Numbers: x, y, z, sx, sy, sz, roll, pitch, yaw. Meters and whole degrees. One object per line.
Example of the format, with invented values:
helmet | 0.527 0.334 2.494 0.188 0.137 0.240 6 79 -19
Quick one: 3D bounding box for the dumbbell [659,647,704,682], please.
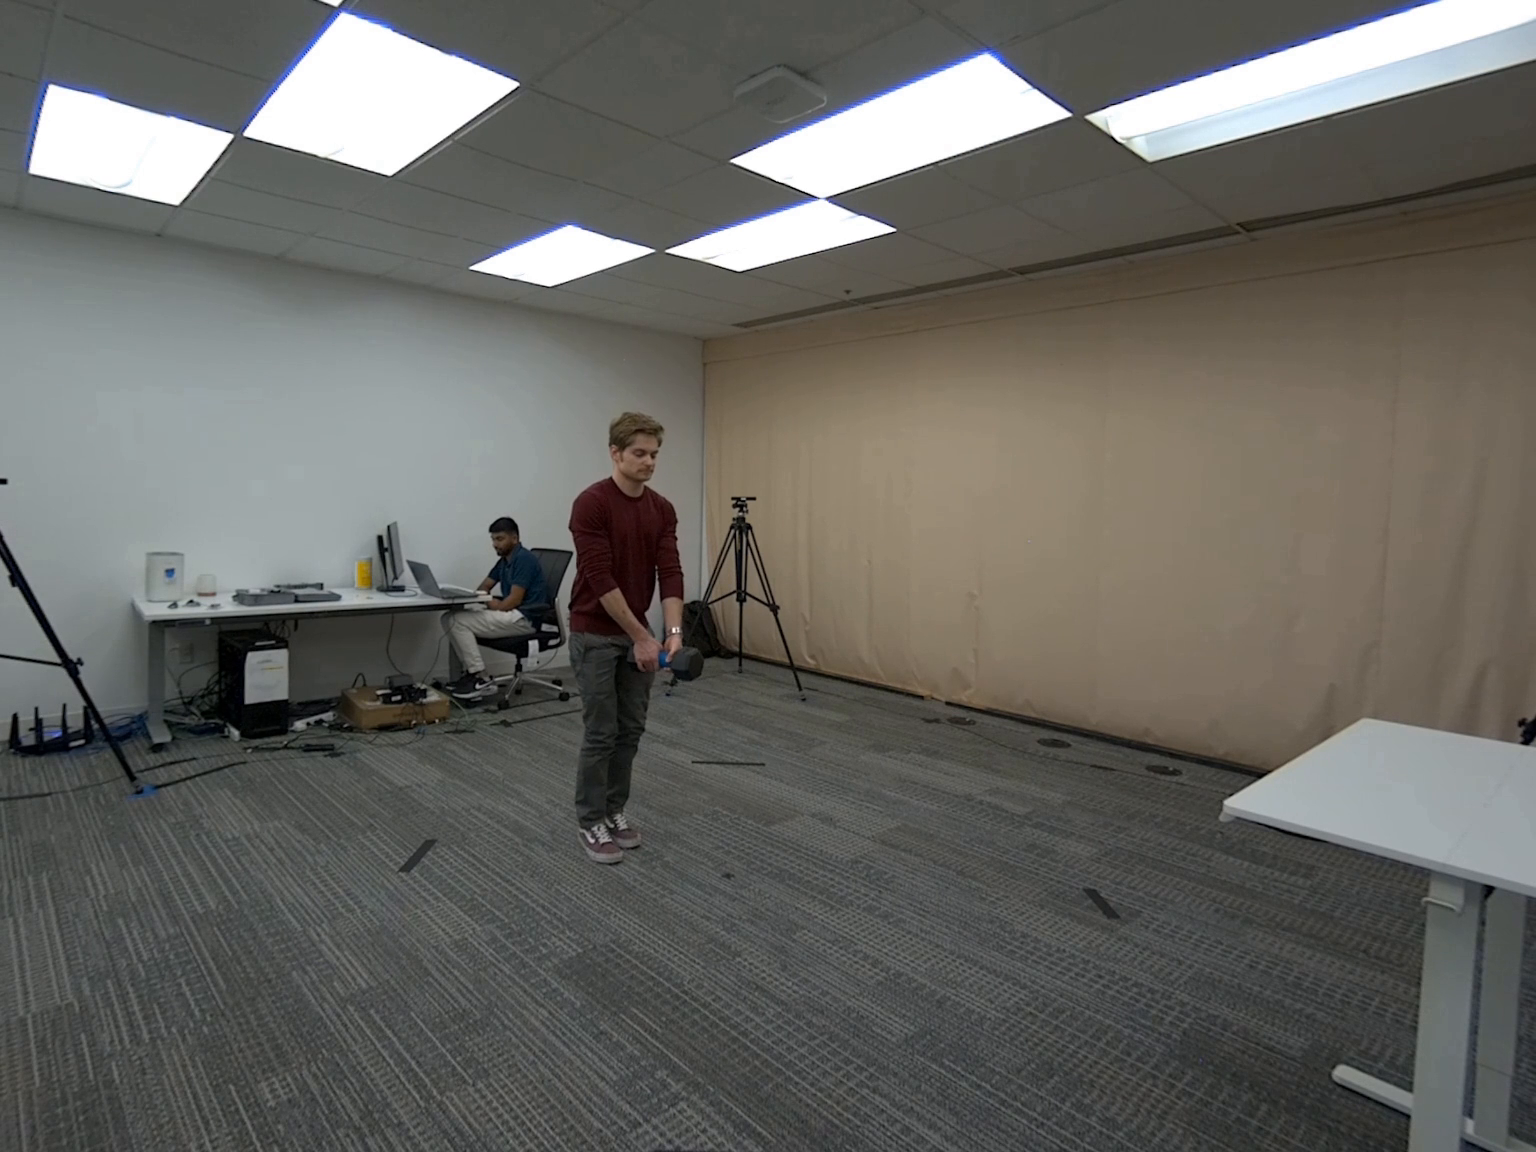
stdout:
dumbbell | -0.393 0.312 3.107 0.300 0.119 0.109 4 44 34
